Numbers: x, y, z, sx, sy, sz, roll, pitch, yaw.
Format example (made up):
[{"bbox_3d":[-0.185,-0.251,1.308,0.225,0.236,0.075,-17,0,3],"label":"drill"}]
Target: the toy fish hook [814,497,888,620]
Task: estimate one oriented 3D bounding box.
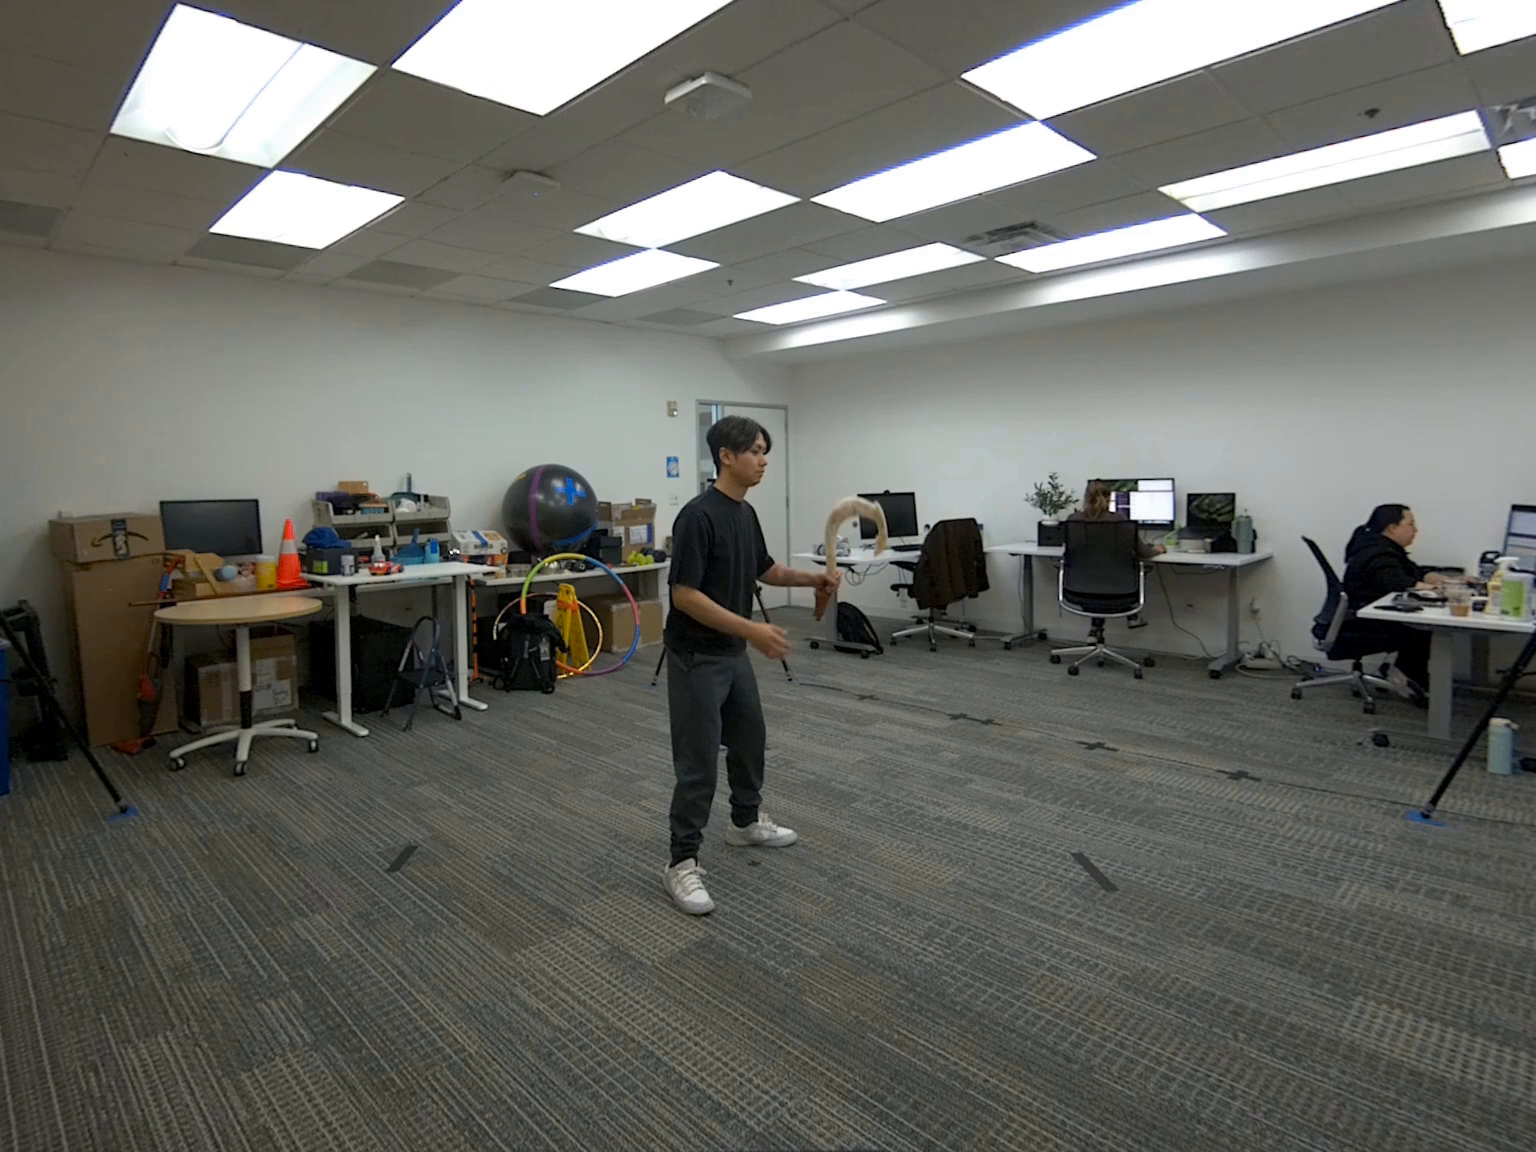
[{"bbox_3d":[0.271,-0.019,3.106,0.227,0.499,0.048,16,23,9],"label":"toy fish hook"}]
